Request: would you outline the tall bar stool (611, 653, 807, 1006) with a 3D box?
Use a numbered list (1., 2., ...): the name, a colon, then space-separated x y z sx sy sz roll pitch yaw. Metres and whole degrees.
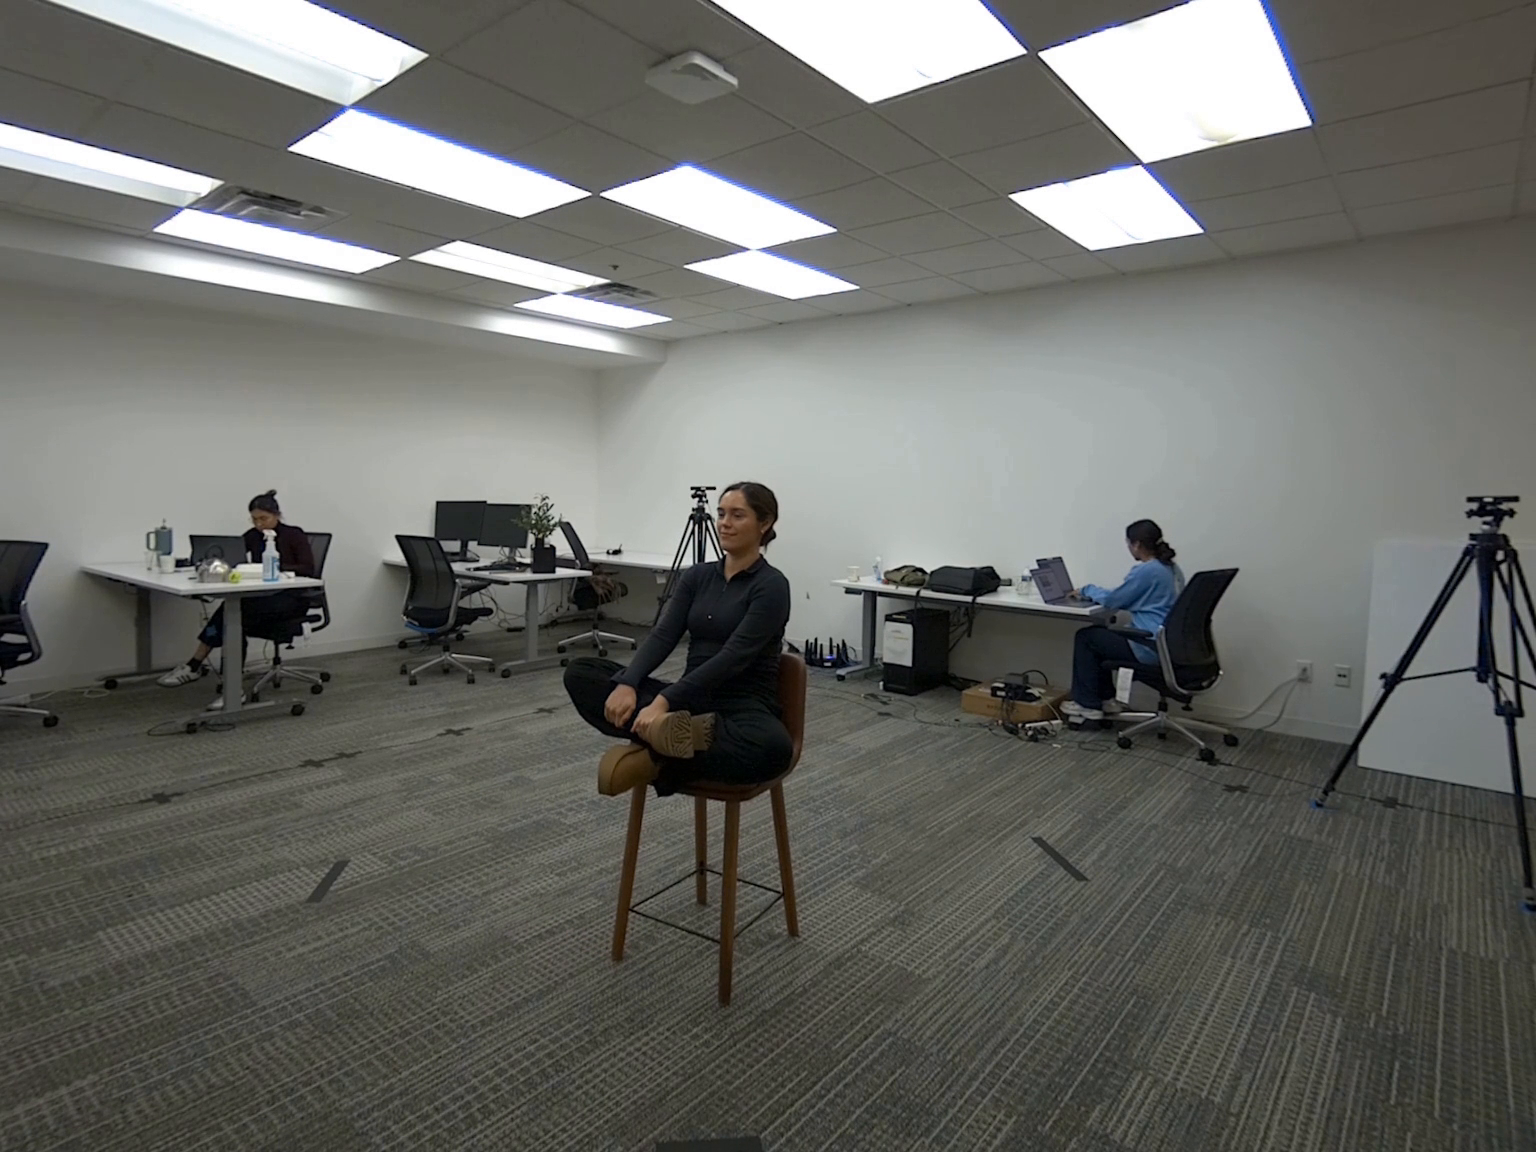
1. tall bar stool: -0.168 0.687 2.556 0.470 0.888 0.454 3 2 32
